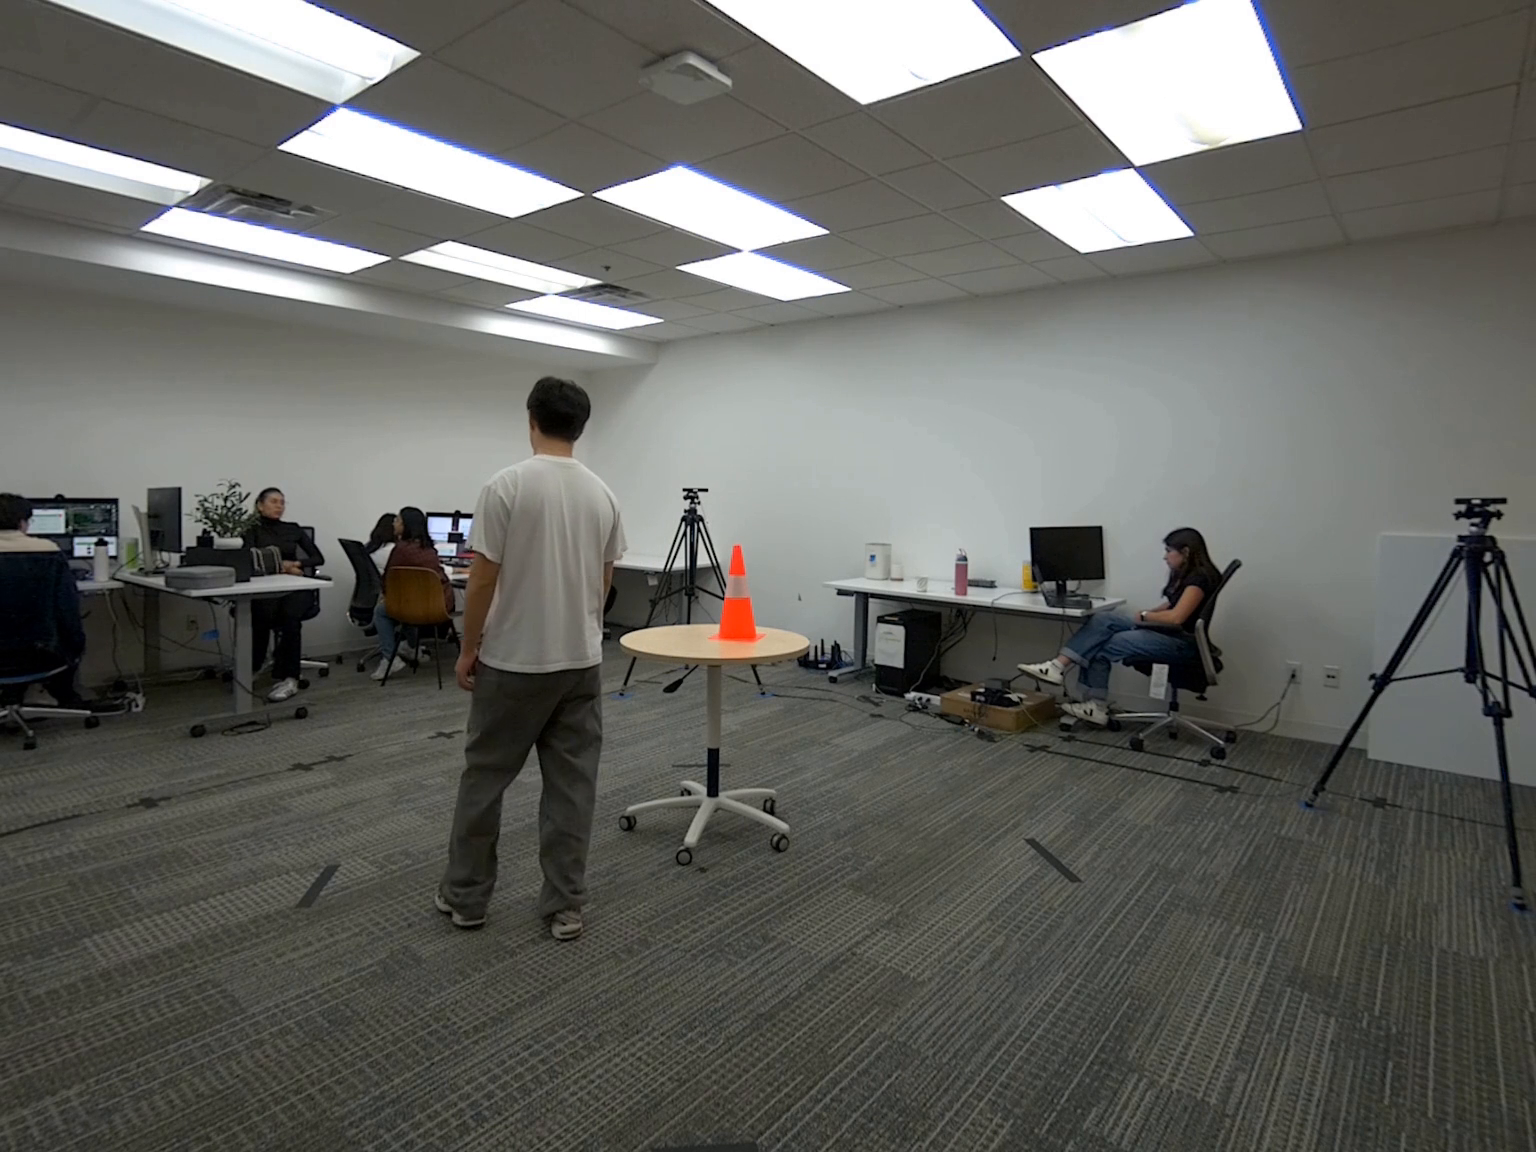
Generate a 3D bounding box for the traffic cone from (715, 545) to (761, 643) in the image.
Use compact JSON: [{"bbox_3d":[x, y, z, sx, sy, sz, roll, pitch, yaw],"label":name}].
[{"bbox_3d":[-0.124,0.059,3.500,0.209,0.382,0.200,3,4,15],"label":"traffic cone"}]
